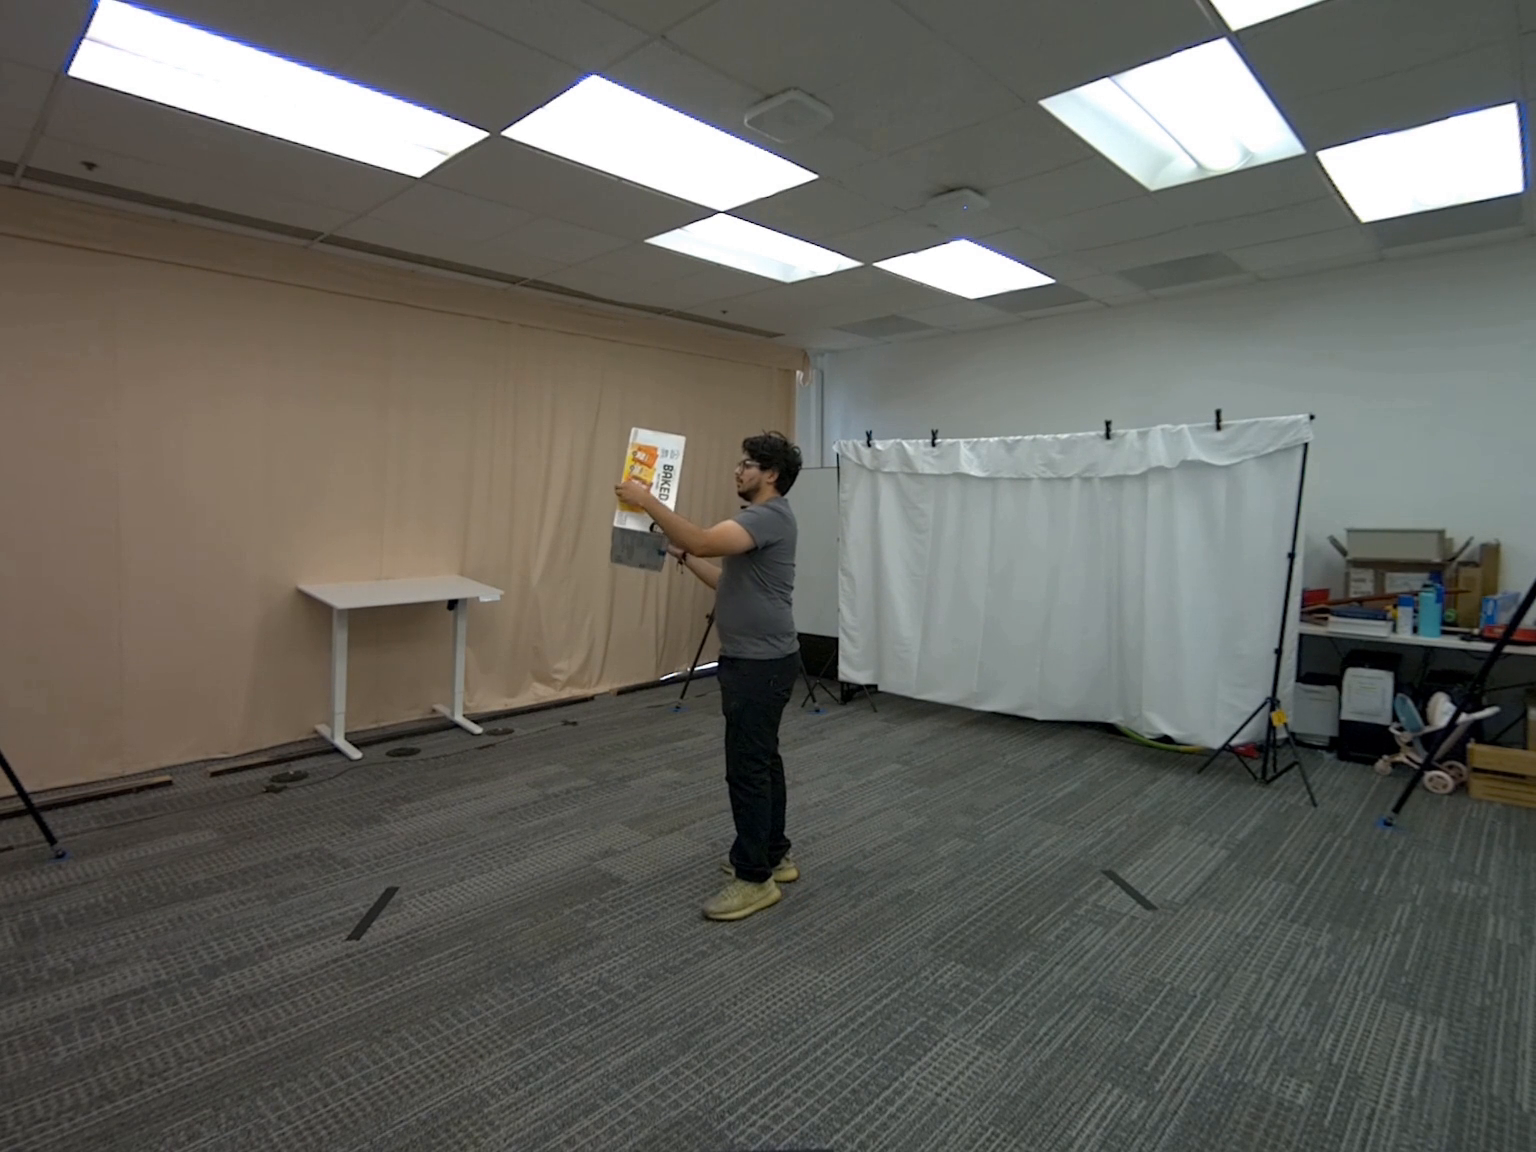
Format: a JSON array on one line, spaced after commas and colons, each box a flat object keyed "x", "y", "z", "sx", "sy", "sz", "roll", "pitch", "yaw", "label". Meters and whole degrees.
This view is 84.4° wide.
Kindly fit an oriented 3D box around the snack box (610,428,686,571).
[{"x": -0.450, "y": -0.280, "z": 3.156, "sx": 0.204, "sy": 0.409, "sz": 0.339, "roll": 9, "pitch": -24, "yaw": -6, "label": "snack box"}]
